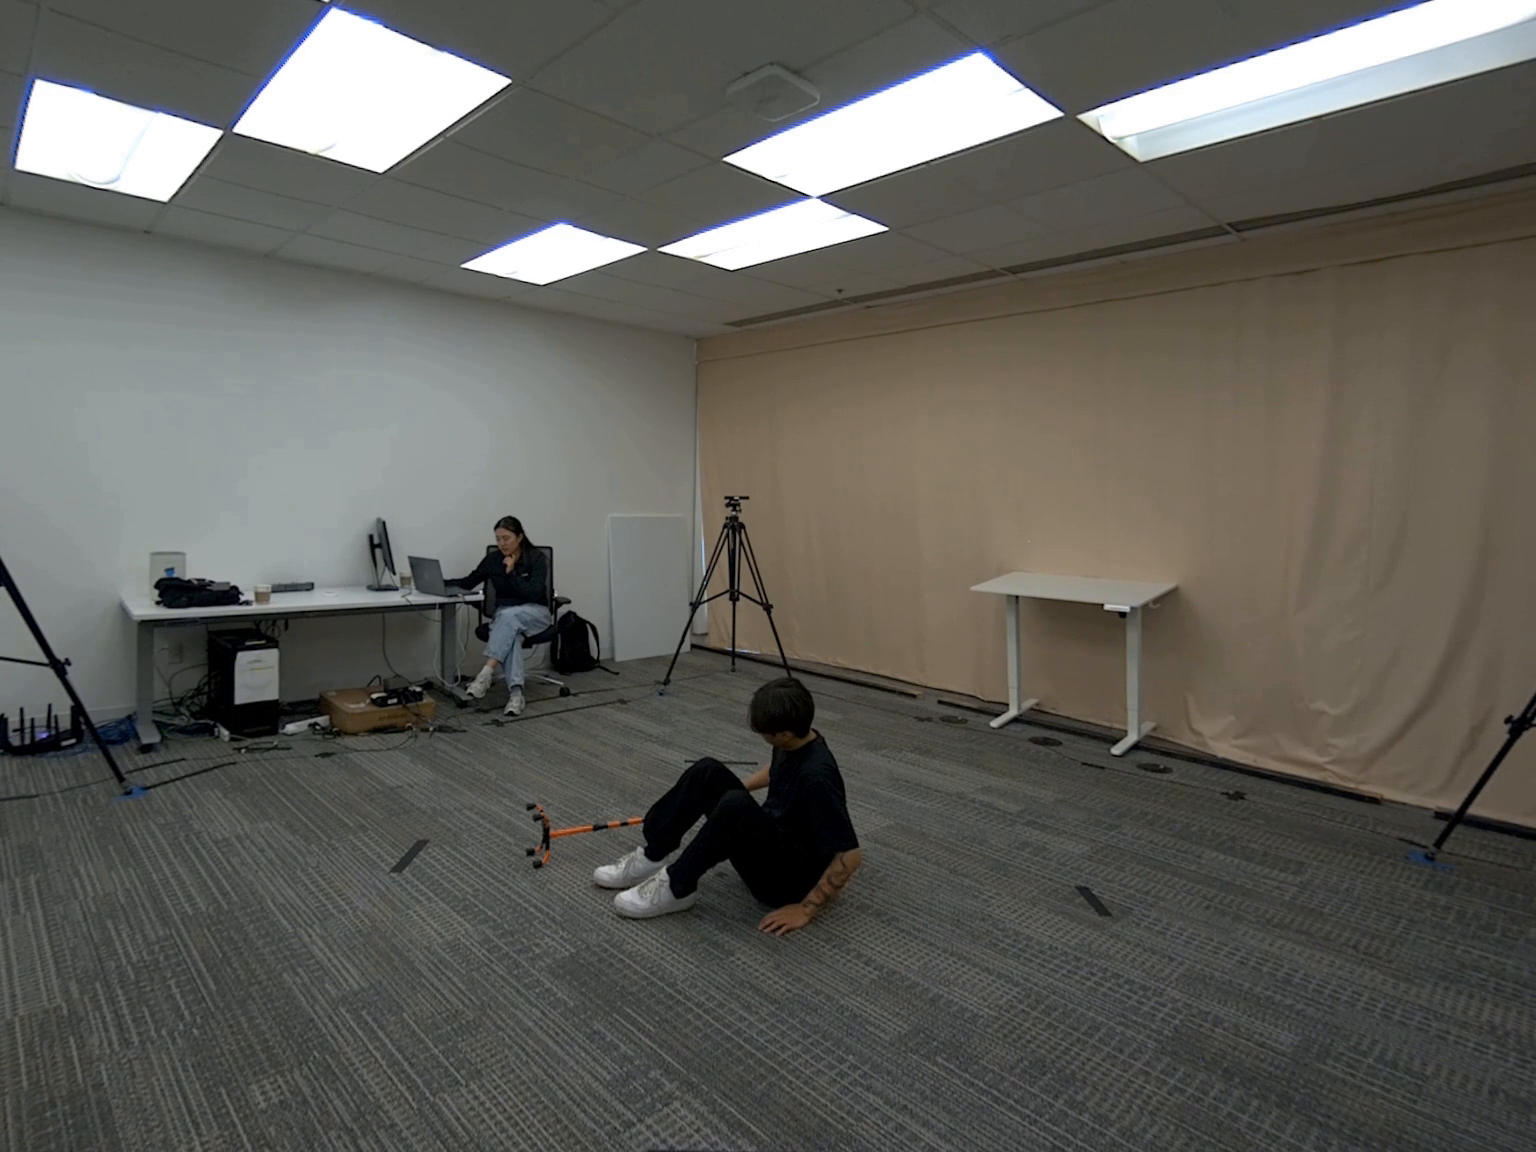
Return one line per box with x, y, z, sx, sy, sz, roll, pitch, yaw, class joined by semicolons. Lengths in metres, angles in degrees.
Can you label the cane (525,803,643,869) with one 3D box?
-0.500;0.952;3.367;0.892;0.206;0.154;-1;2;-25;cane
